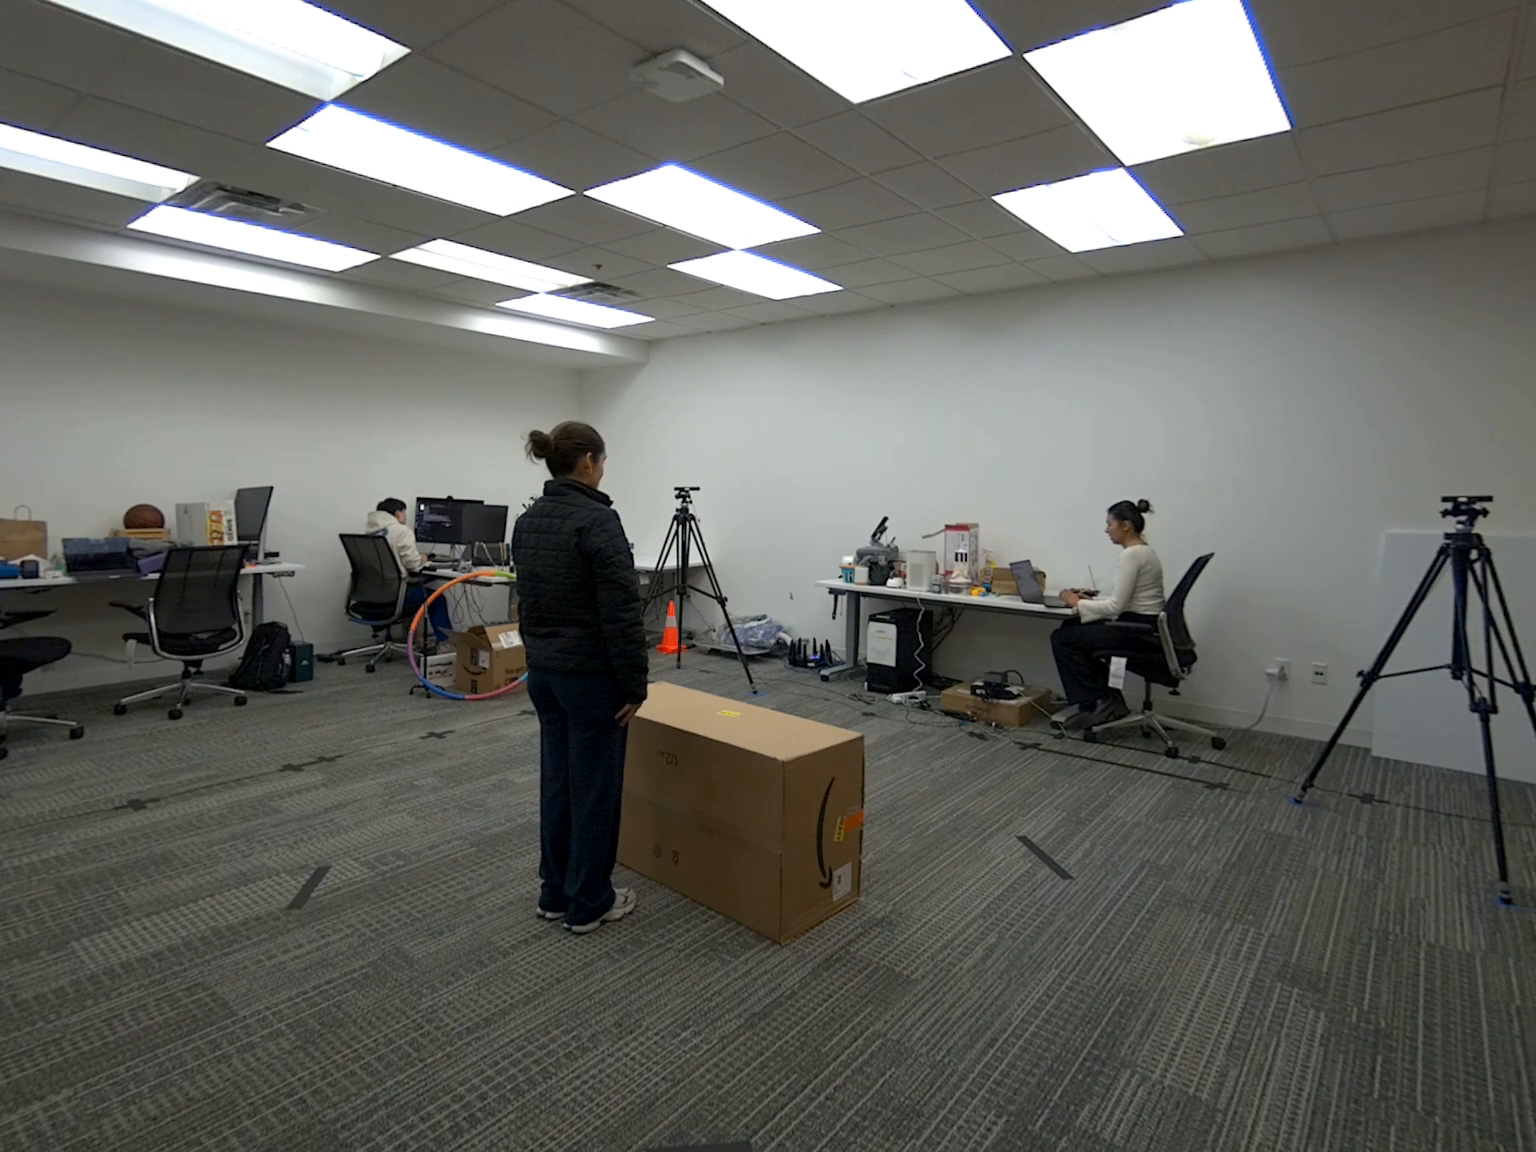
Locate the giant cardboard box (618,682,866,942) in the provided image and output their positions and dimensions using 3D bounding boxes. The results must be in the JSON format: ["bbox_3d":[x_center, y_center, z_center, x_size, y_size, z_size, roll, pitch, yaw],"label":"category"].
[{"bbox_3d":[-0.184,0.782,3.092,1.062,0.582,0.433,6,5,43],"label":"giant cardboard box"}]
